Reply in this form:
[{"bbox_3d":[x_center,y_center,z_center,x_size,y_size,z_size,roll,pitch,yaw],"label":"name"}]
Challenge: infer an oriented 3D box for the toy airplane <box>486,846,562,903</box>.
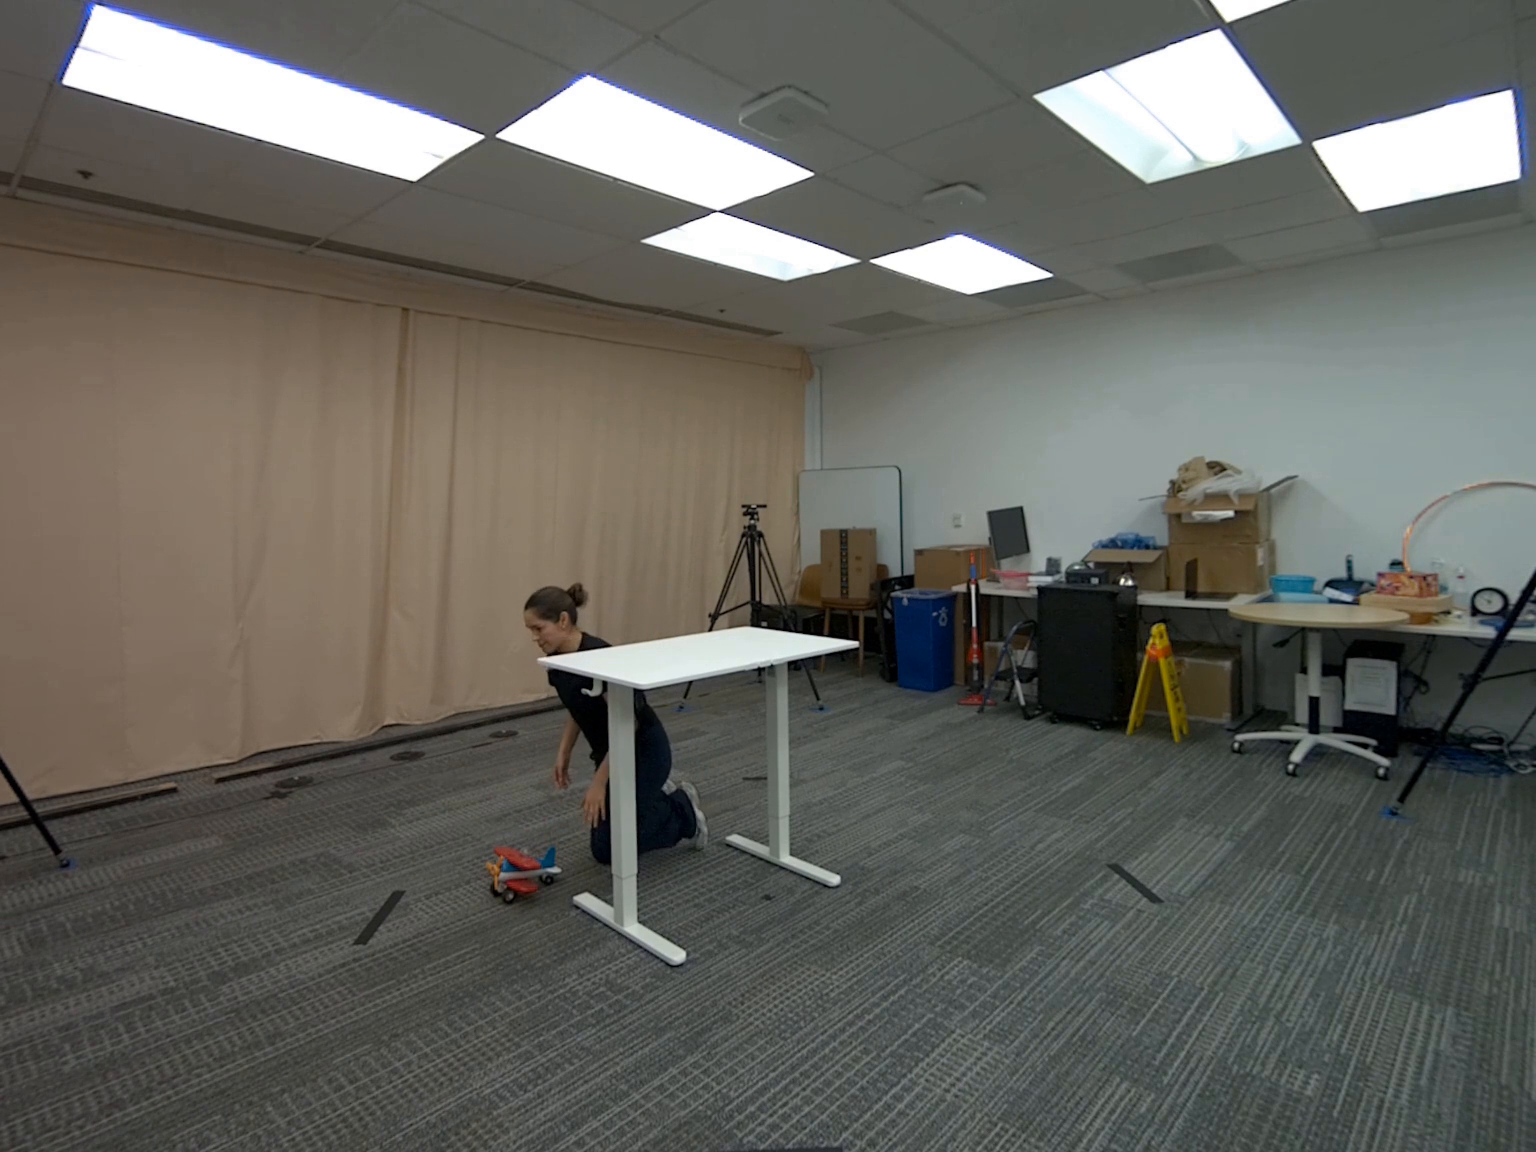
[{"bbox_3d":[-0.900,1.080,3.083,0.256,0.156,0.255,-1,6,18],"label":"toy airplane"}]
